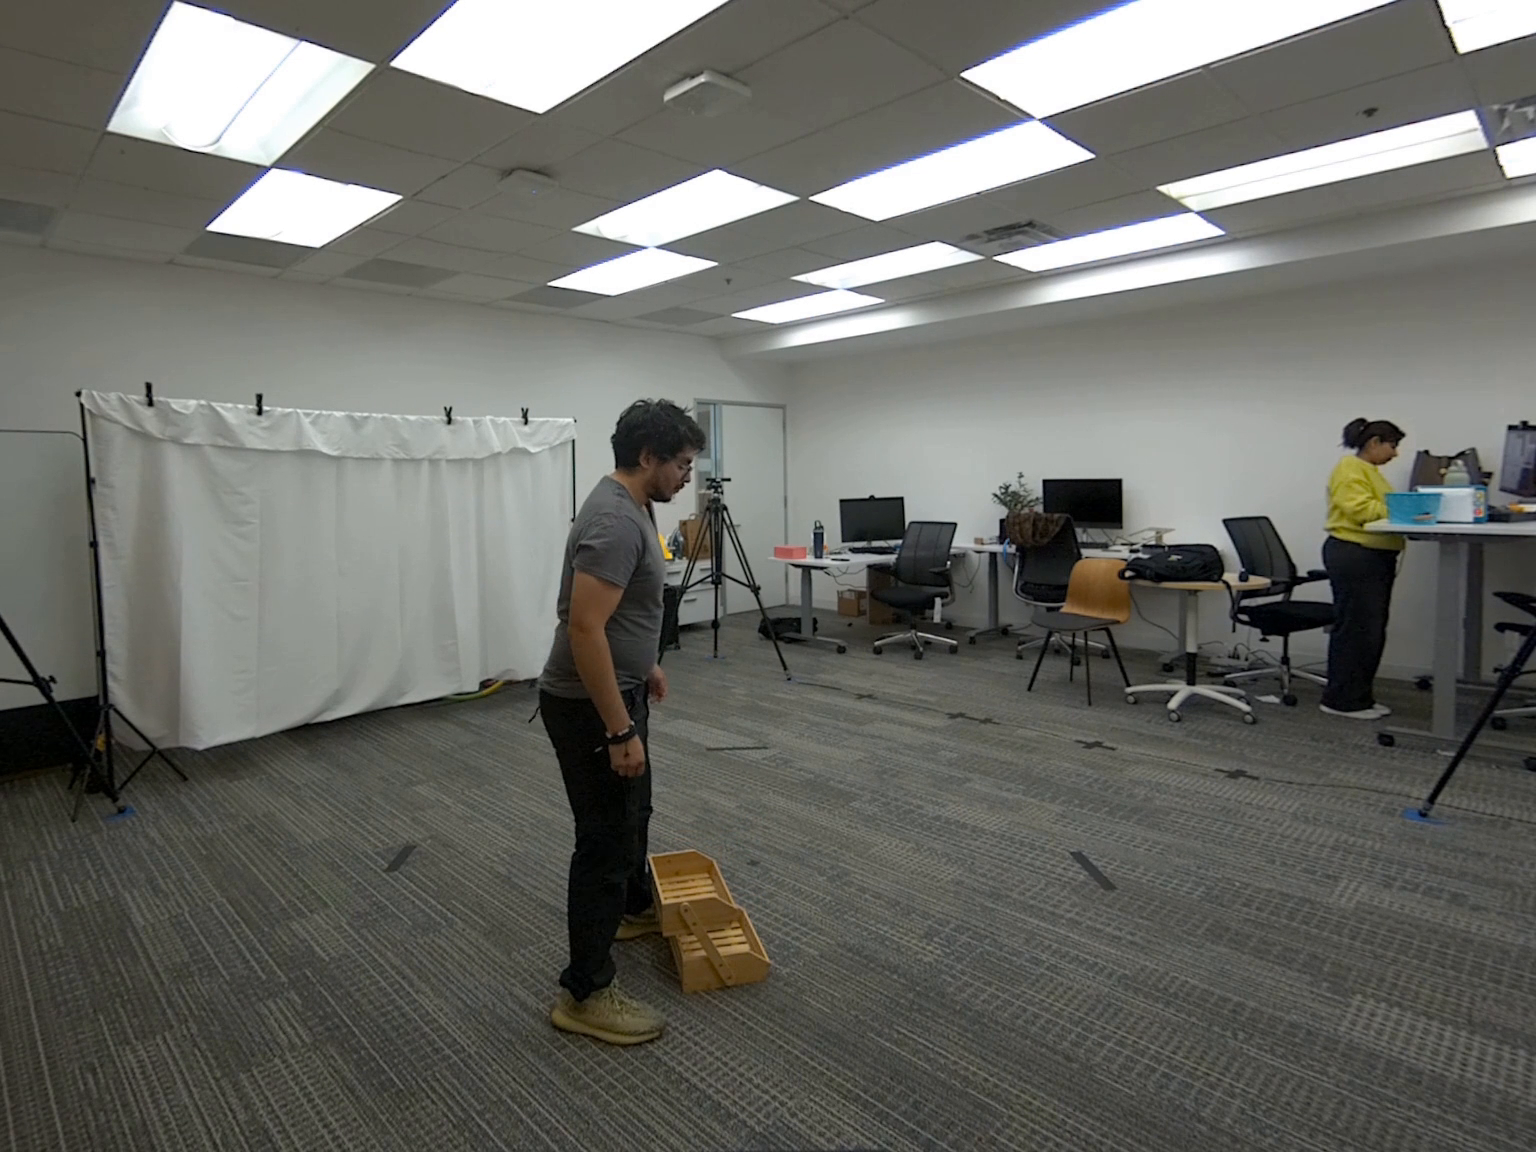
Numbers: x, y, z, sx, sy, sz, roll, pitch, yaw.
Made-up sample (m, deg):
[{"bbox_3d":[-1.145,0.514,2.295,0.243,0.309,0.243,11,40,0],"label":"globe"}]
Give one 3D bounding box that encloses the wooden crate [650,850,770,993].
[{"bbox_3d":[-0.168,0.986,2.481,0.298,0.272,0.330,-3,6,-14],"label":"wooden crate"}]
